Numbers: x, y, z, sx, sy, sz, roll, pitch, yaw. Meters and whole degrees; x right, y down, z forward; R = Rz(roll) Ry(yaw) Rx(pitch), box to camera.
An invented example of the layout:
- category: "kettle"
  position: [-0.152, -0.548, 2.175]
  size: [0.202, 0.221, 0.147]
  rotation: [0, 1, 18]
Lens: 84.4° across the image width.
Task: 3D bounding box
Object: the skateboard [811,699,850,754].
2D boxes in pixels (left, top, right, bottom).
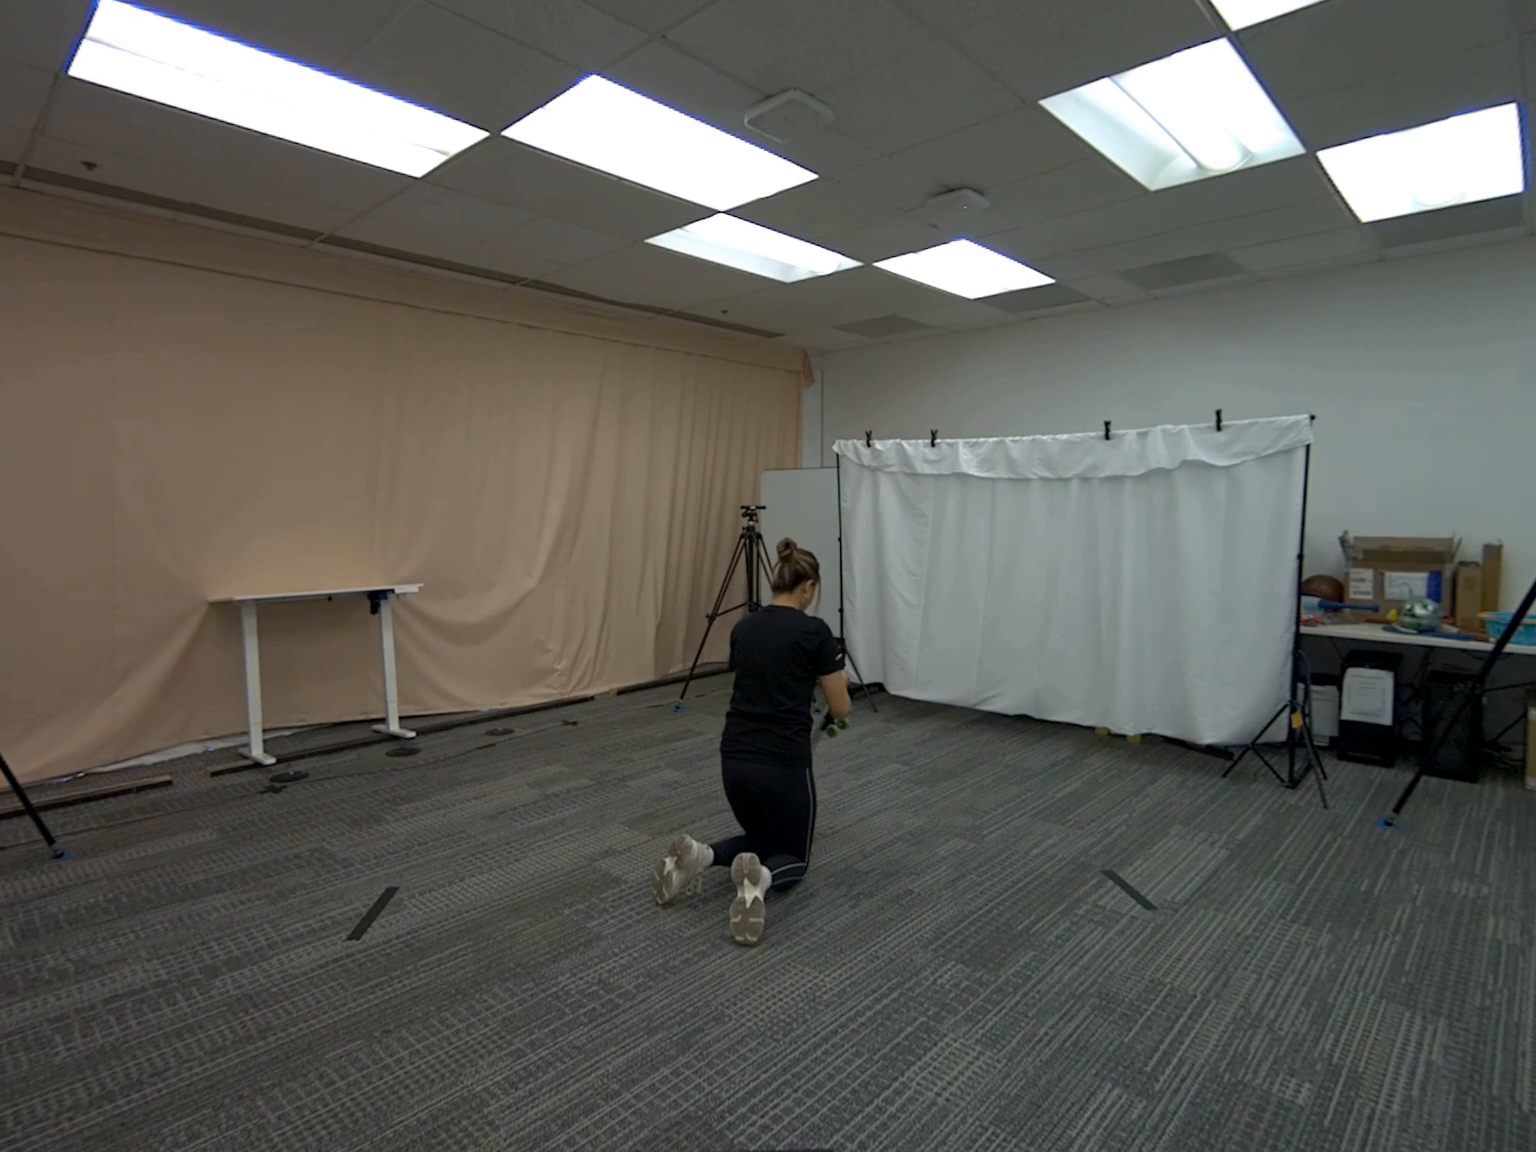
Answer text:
- category: "skateboard"
  position: [0.169, 0.774, 3.489]
  size: [0.113, 0.785, 0.189]
  rotation: [33, 13, 20]
